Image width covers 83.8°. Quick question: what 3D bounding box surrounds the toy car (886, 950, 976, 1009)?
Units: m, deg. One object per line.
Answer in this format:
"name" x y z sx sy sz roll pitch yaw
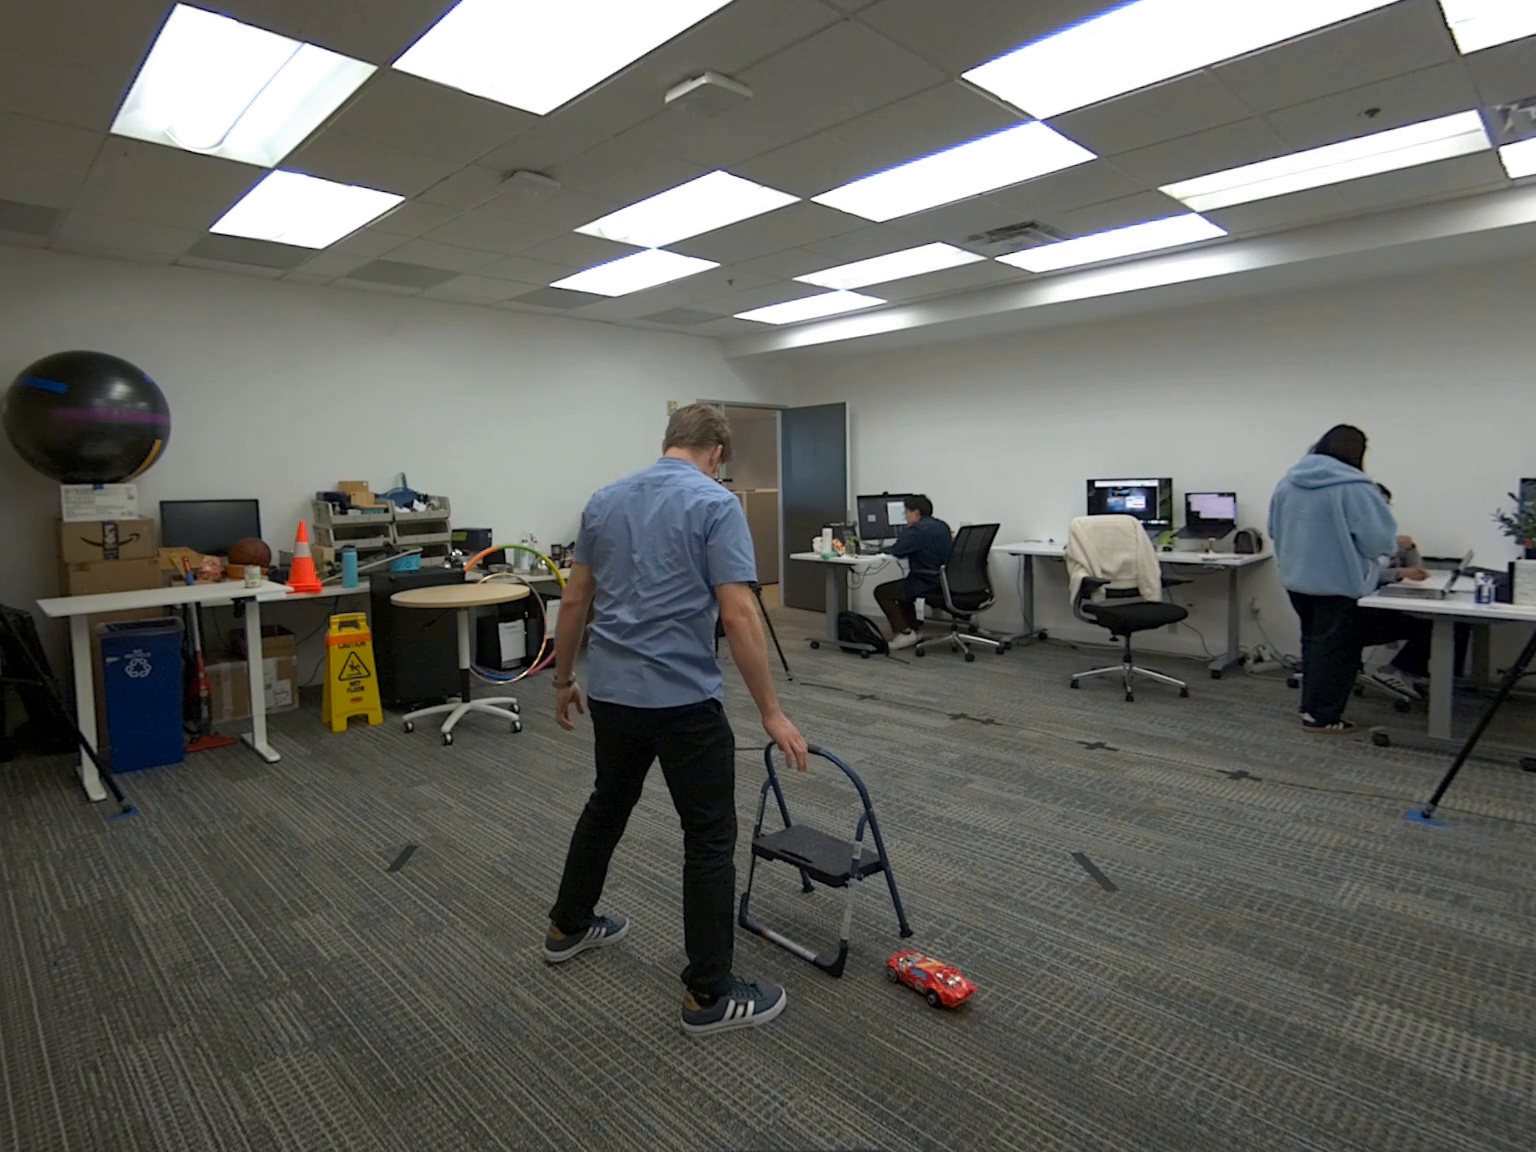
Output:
"toy car" 0.452 1.098 2.316 0.127 0.083 0.260 -6 -2 -37
